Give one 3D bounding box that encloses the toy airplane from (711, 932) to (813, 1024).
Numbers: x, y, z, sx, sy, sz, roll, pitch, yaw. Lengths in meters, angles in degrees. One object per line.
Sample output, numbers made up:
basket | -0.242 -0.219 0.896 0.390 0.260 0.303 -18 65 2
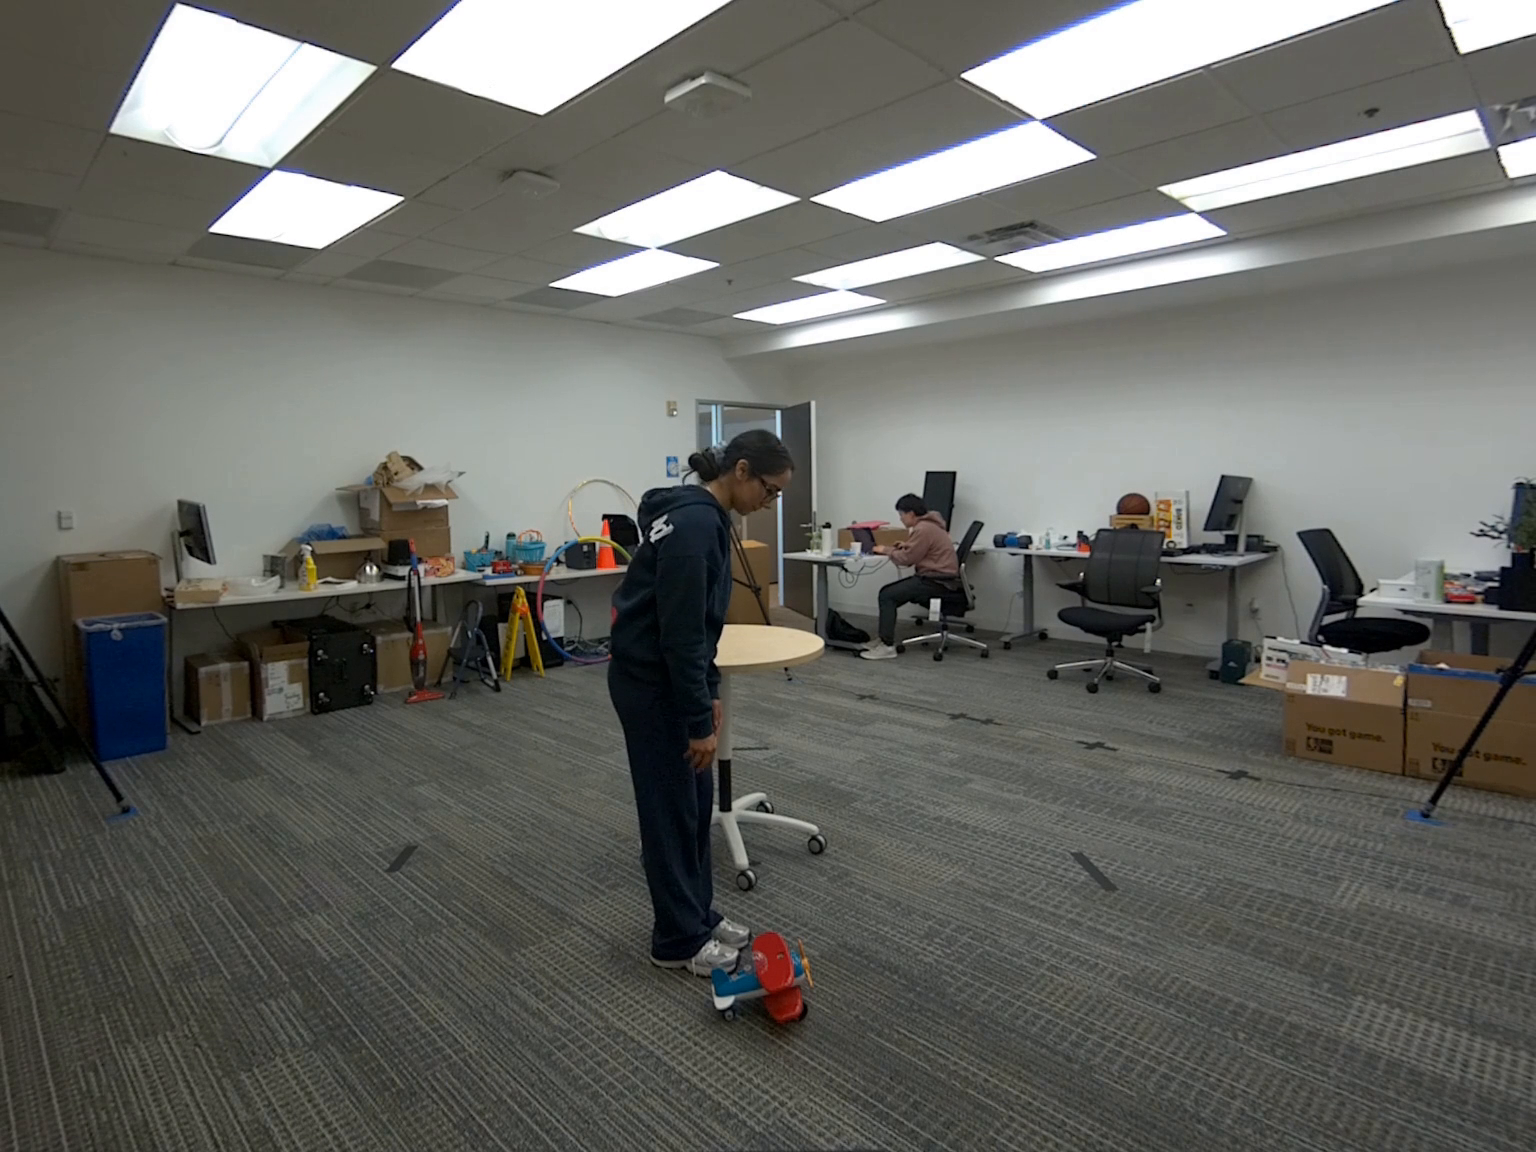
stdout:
toy airplane | -0.006 1.076 2.216 0.253 0.156 0.258 -6 6 -36
